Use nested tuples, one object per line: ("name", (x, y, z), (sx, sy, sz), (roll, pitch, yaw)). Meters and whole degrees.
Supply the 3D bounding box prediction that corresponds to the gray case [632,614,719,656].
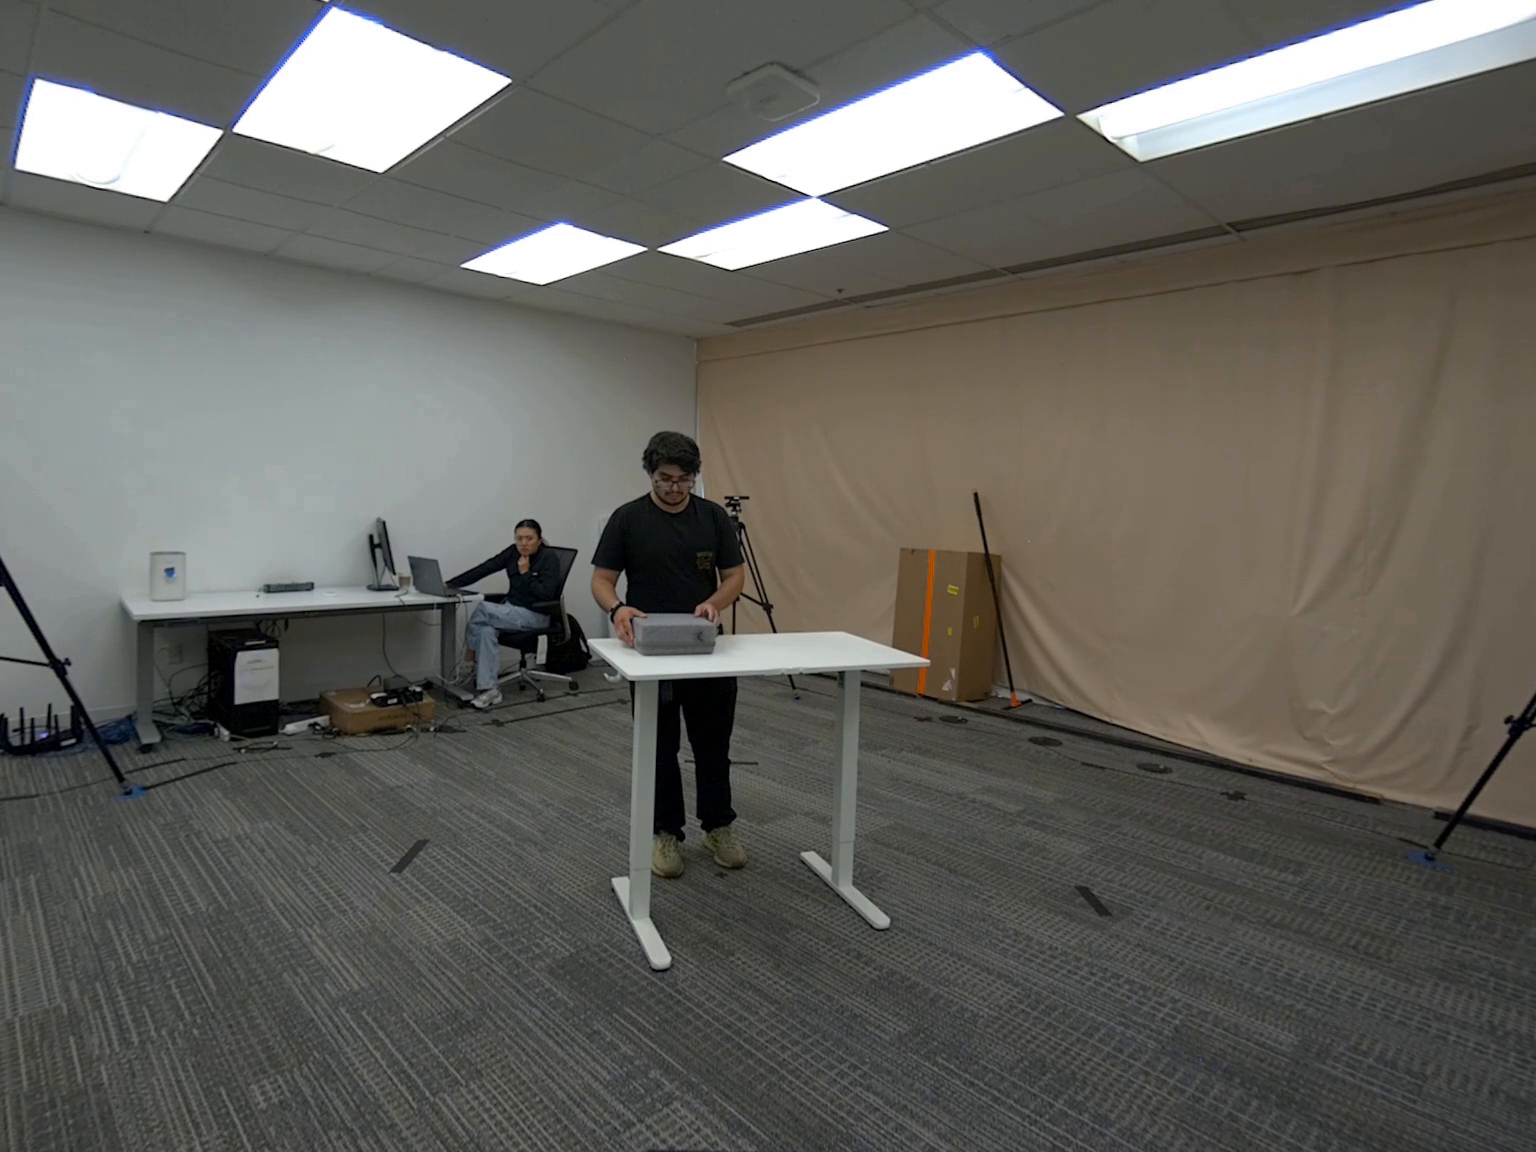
("gray case", (-0.332, 0.196, 2.789), (0.256, 0.104, 0.262), (3, 6, -20))
